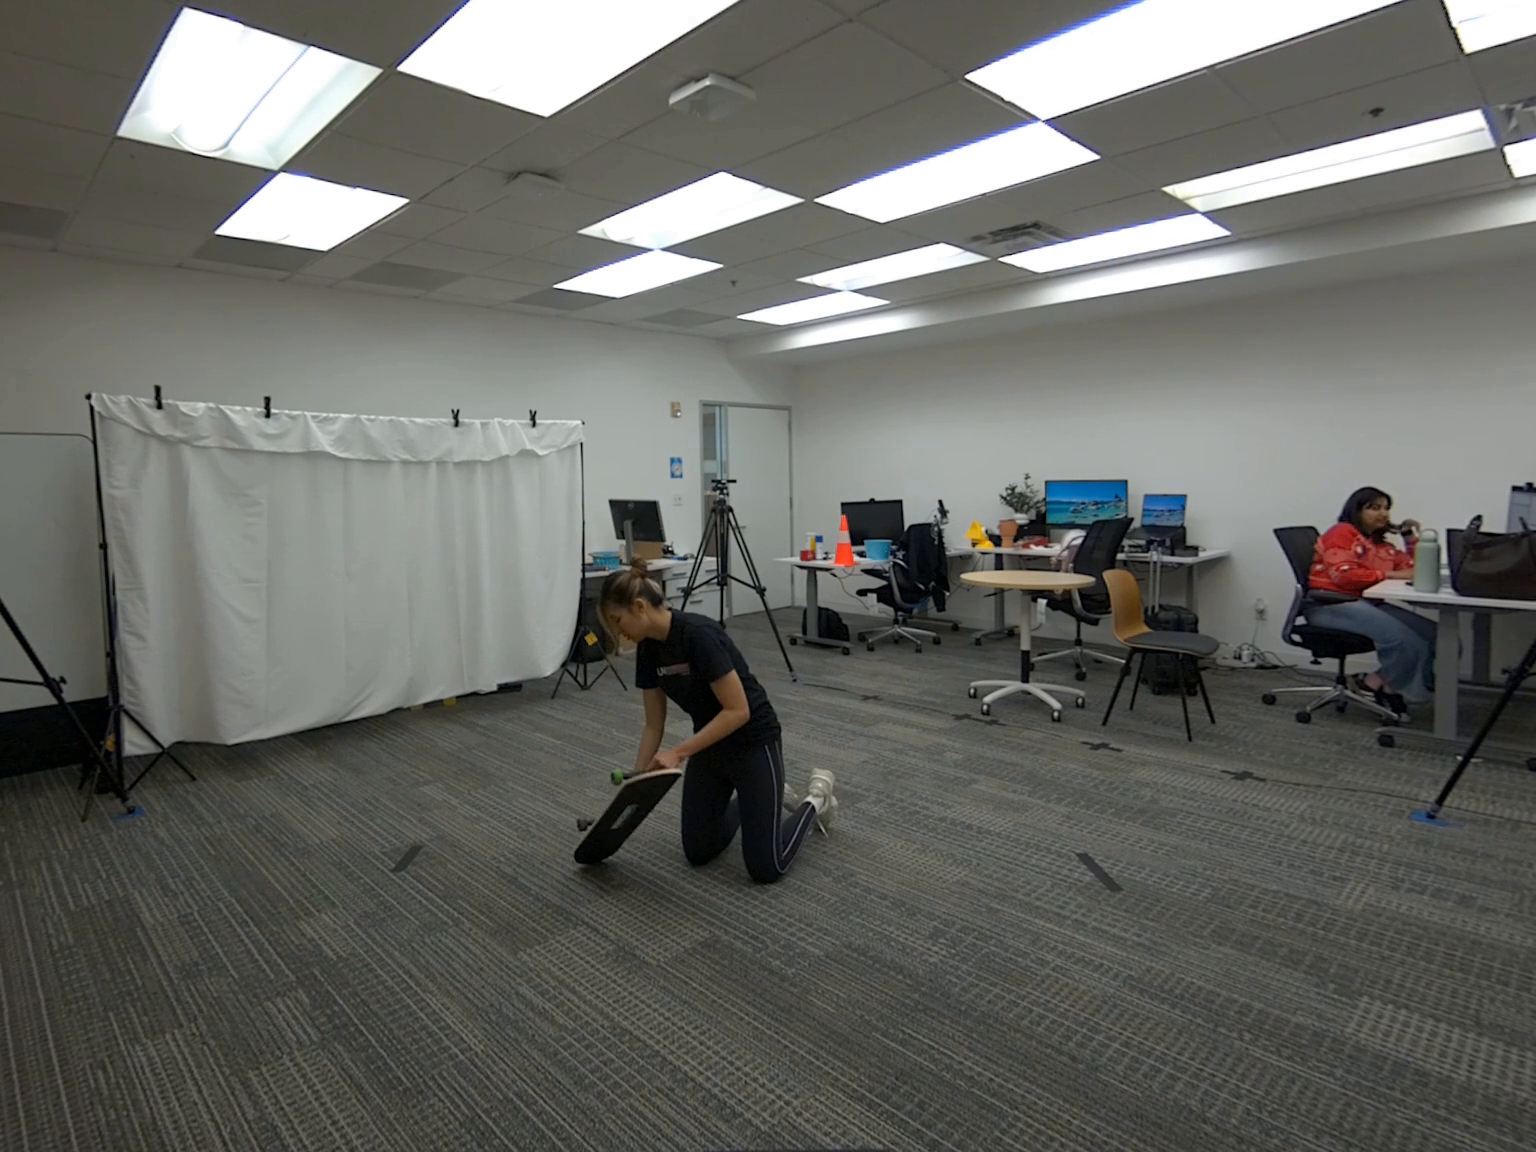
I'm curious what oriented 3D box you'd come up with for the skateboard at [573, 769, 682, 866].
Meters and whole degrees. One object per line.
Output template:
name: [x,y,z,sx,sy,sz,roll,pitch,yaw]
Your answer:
skateboard: [-0.490,0.788,2.892,0.189,0.114,0.779,-2,-35,-31]
